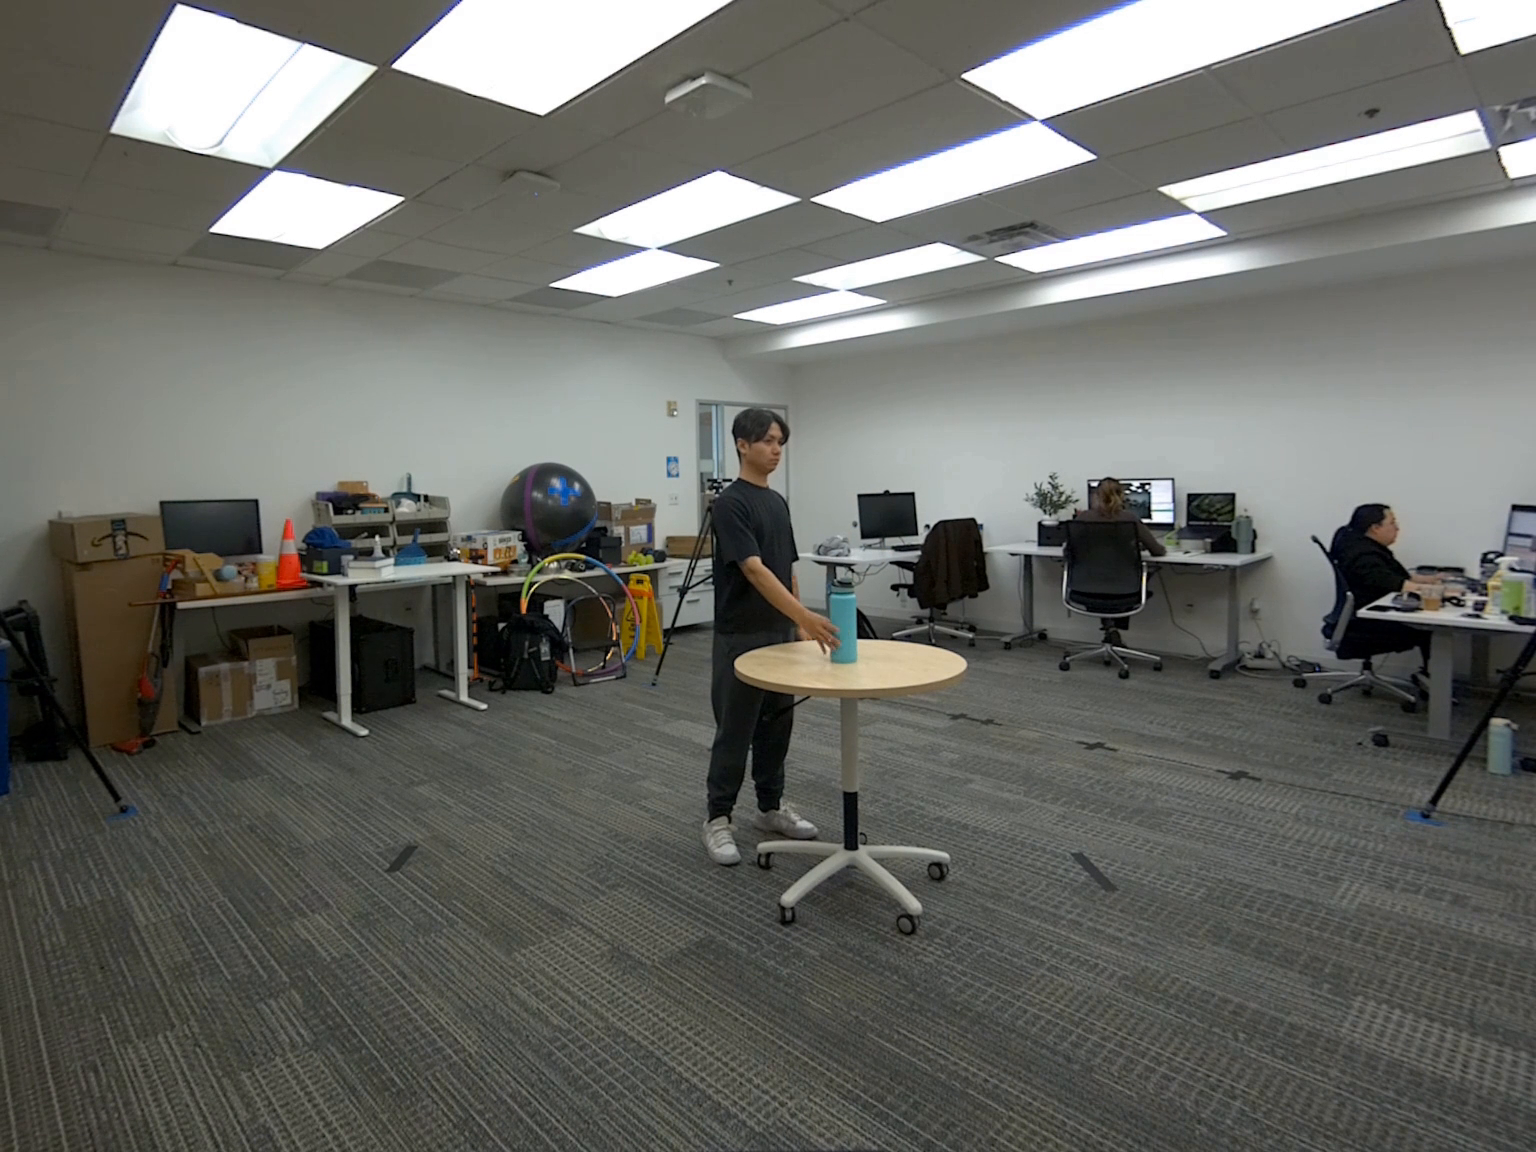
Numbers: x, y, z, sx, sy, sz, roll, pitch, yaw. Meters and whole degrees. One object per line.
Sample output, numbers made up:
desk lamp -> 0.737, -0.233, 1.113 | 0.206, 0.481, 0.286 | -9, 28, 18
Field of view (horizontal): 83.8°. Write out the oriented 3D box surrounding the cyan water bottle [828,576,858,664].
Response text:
cyan water bottle -> 0.252, 0.144, 2.863 | 0.092, 0.283, 0.092 | -4, 2, -1
